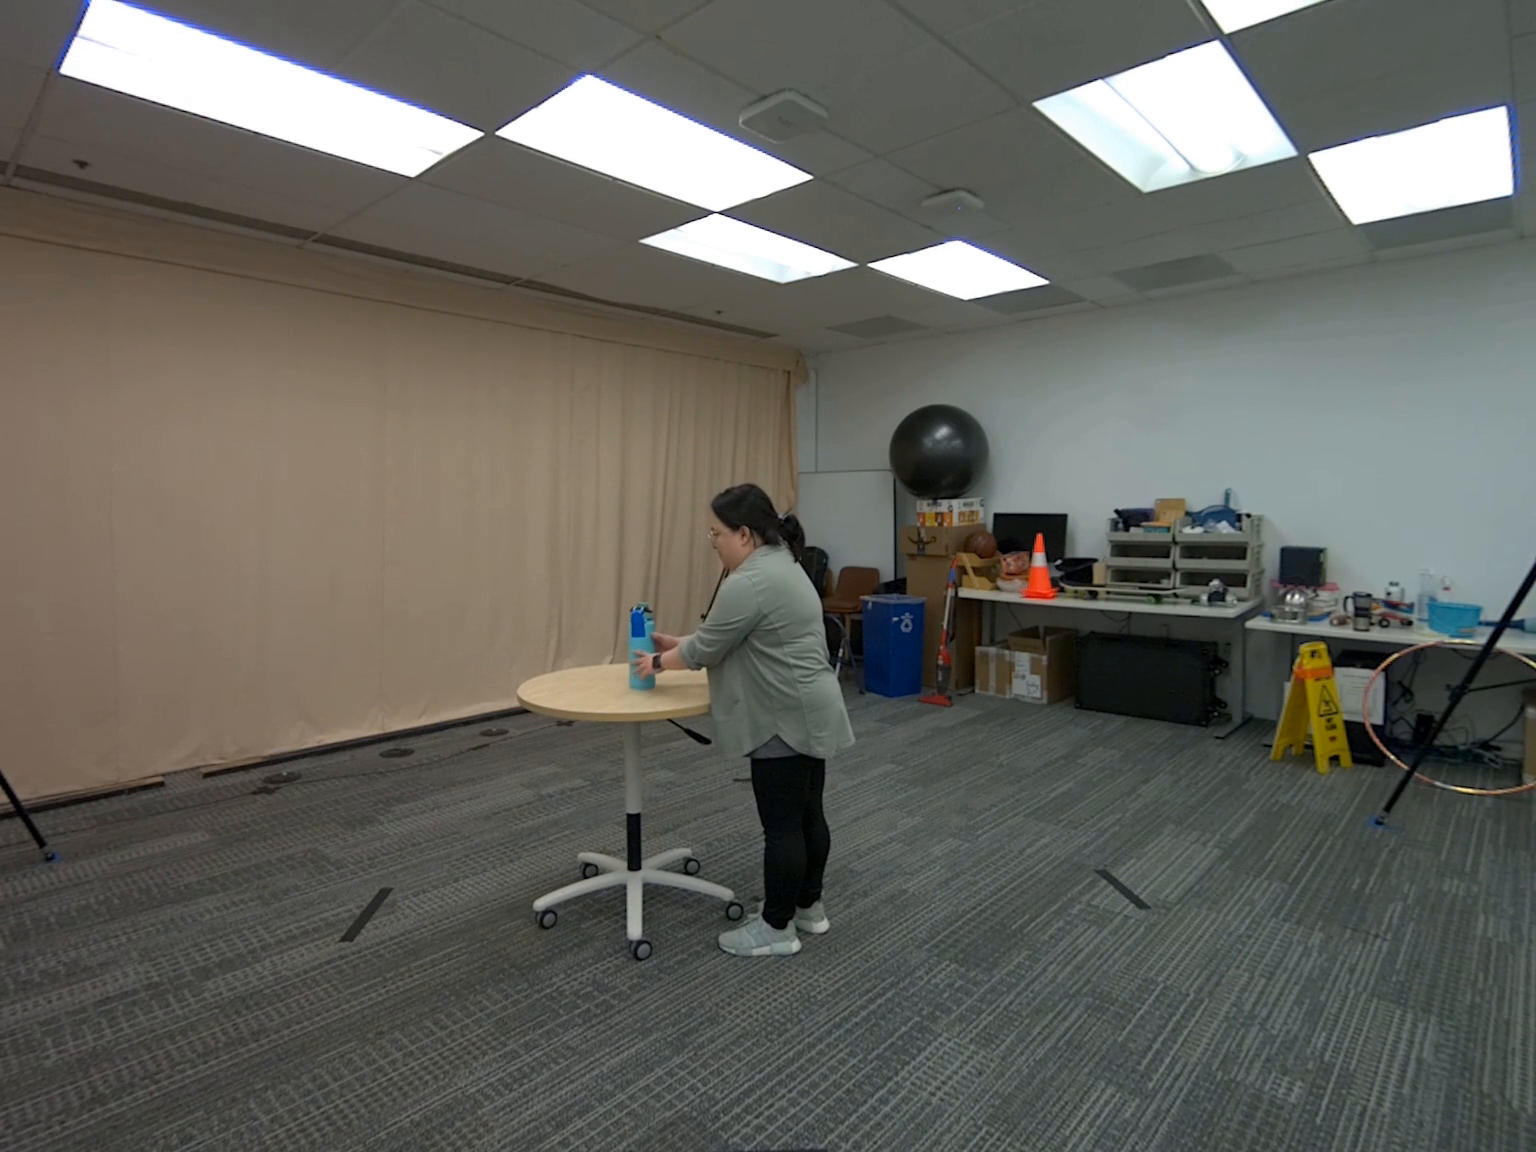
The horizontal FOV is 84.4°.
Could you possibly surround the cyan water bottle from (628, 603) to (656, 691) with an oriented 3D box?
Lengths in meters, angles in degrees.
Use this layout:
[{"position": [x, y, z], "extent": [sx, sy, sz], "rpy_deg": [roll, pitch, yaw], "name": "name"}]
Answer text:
[{"position": [-0.424, 0.239, 2.846], "extent": [0.092, 0.282, 0.093], "rpy_deg": [1, 5, -2], "name": "cyan water bottle"}]
